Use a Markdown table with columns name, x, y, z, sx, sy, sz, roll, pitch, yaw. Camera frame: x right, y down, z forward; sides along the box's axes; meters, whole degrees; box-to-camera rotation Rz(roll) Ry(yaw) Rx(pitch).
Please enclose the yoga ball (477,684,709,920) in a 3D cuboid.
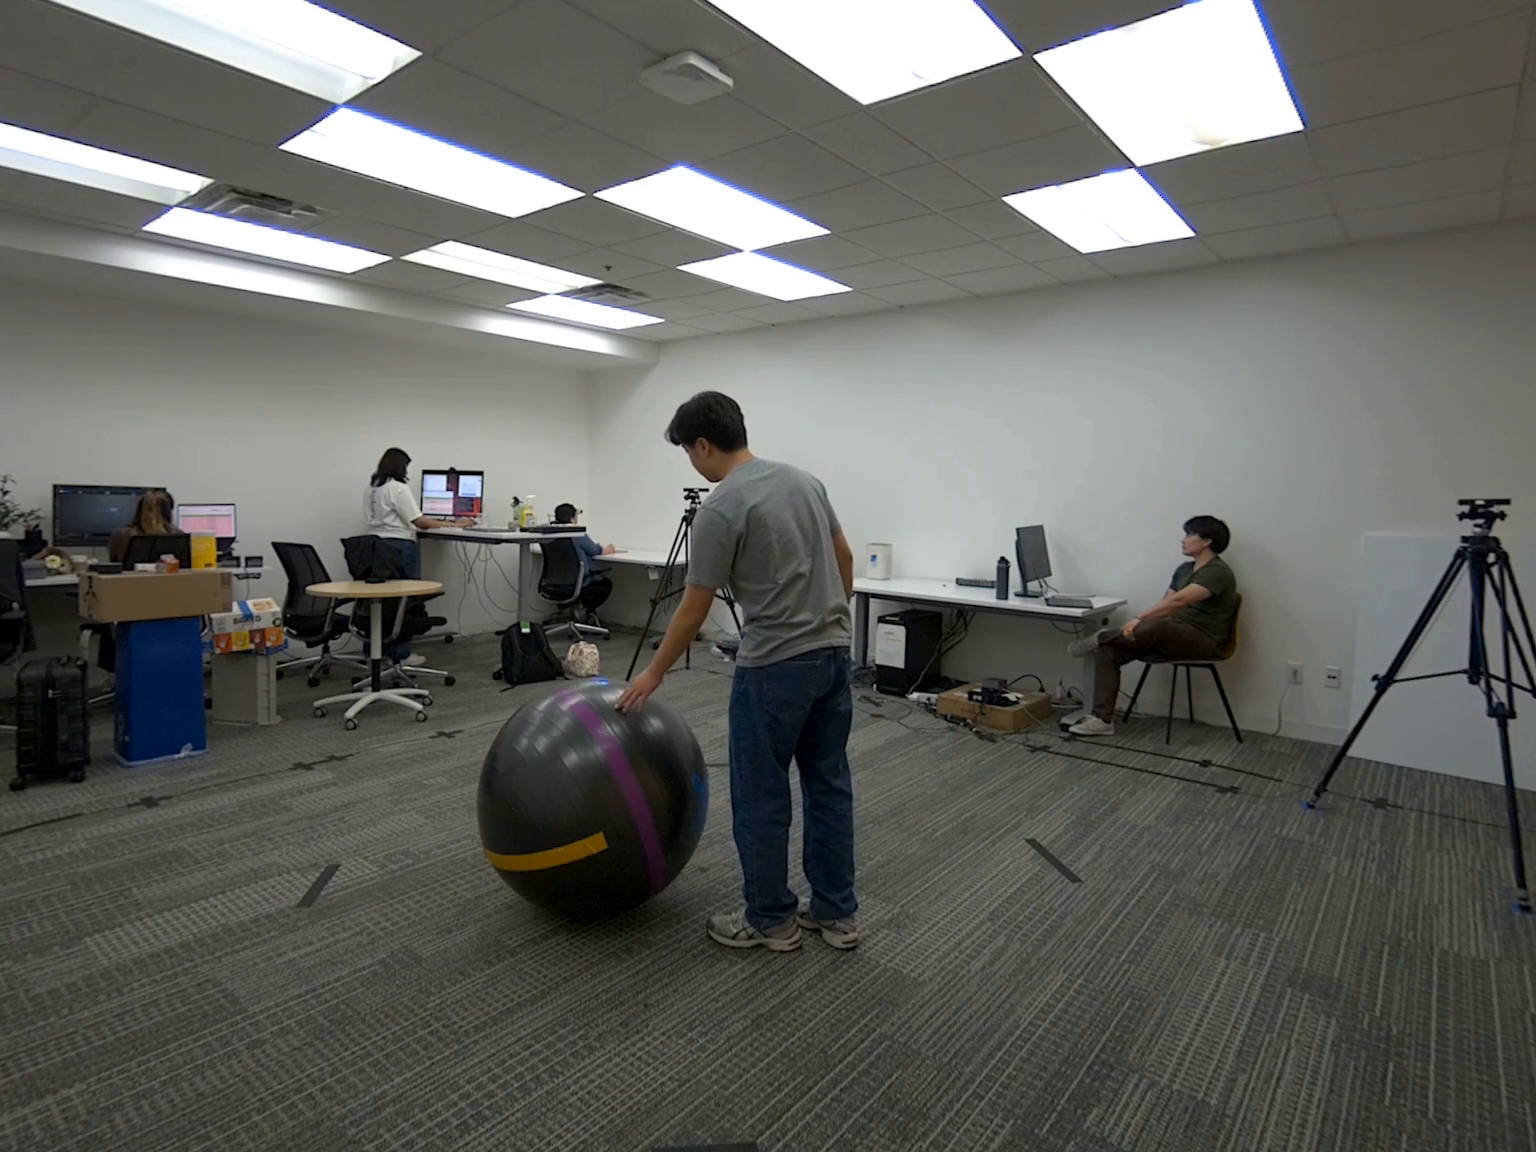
| name | x | y | z | sx | sy | sz | roll | pitch | yaw |
| --- | --- | --- | --- | --- | --- | --- | --- | --- | --- |
| yoga ball | -0.587 | 0.724 | 2.823 | 0.757 | 0.755 | 0.762 | 1 | 4 | -2 |
